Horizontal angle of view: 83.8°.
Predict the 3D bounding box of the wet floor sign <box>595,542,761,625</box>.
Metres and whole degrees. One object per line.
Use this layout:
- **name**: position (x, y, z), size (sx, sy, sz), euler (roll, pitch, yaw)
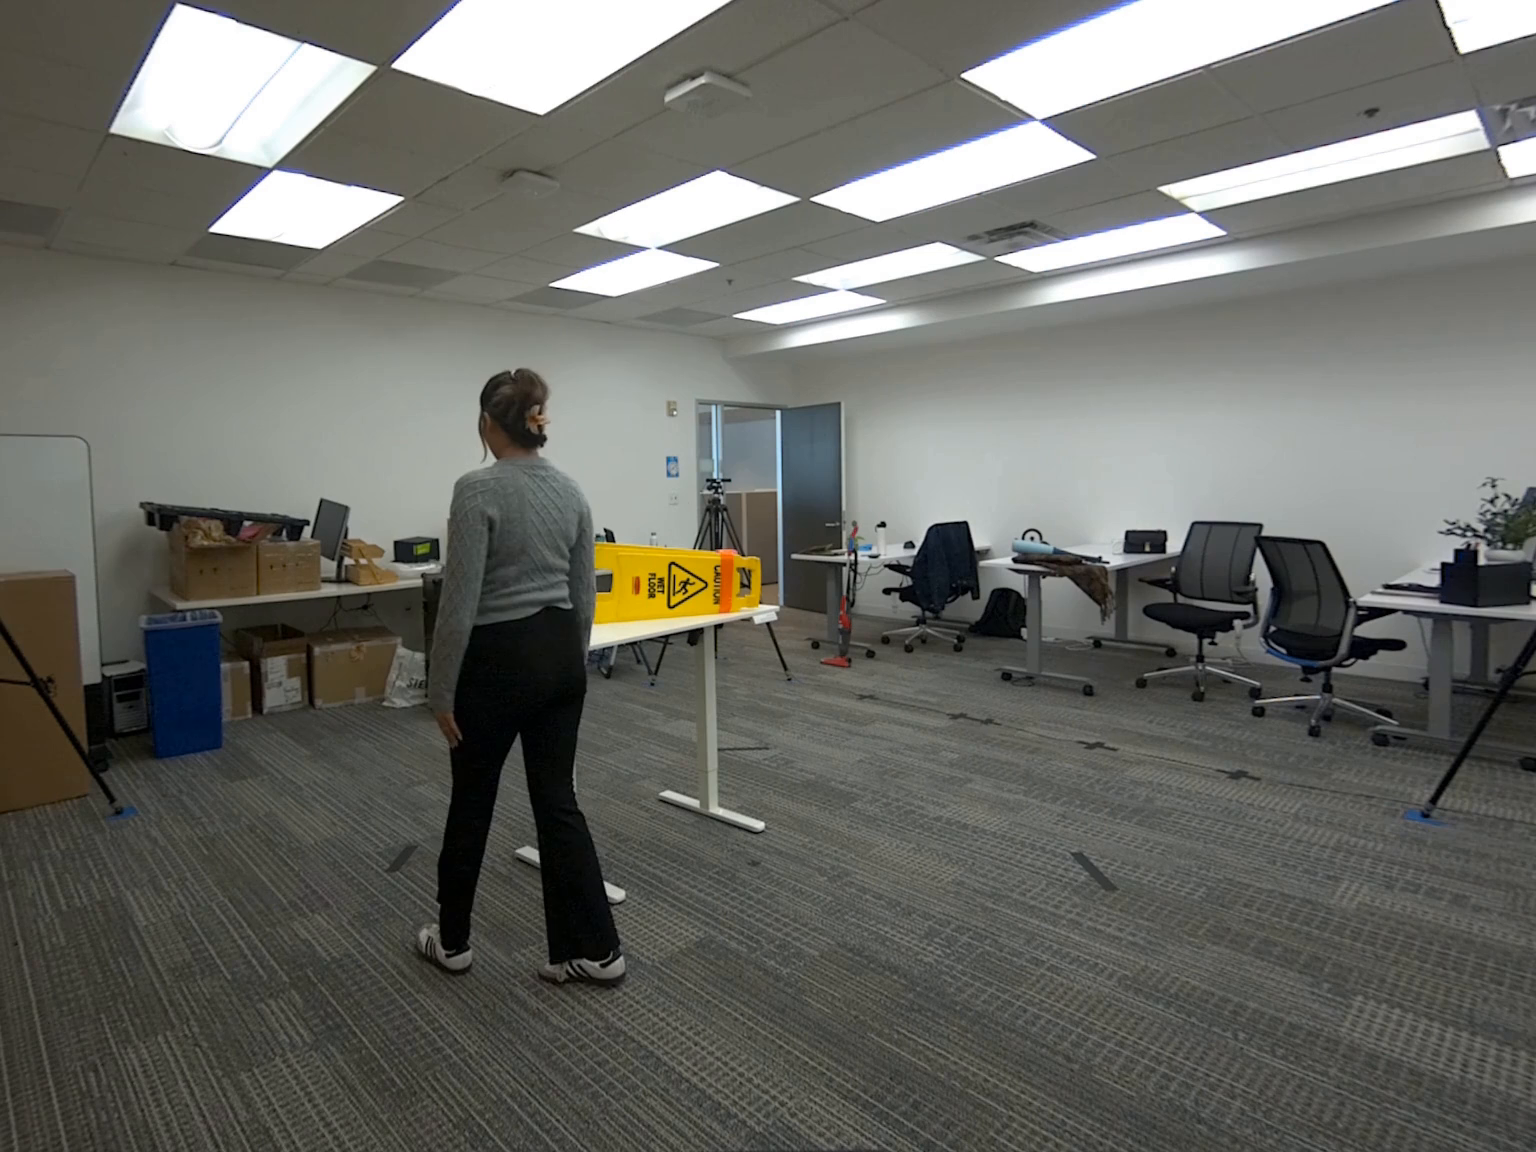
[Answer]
- **wet floor sign**: position (-0.349, 0.024, 3.296), size (0.641, 0.281, 0.293), euler (1, 5, -8)
